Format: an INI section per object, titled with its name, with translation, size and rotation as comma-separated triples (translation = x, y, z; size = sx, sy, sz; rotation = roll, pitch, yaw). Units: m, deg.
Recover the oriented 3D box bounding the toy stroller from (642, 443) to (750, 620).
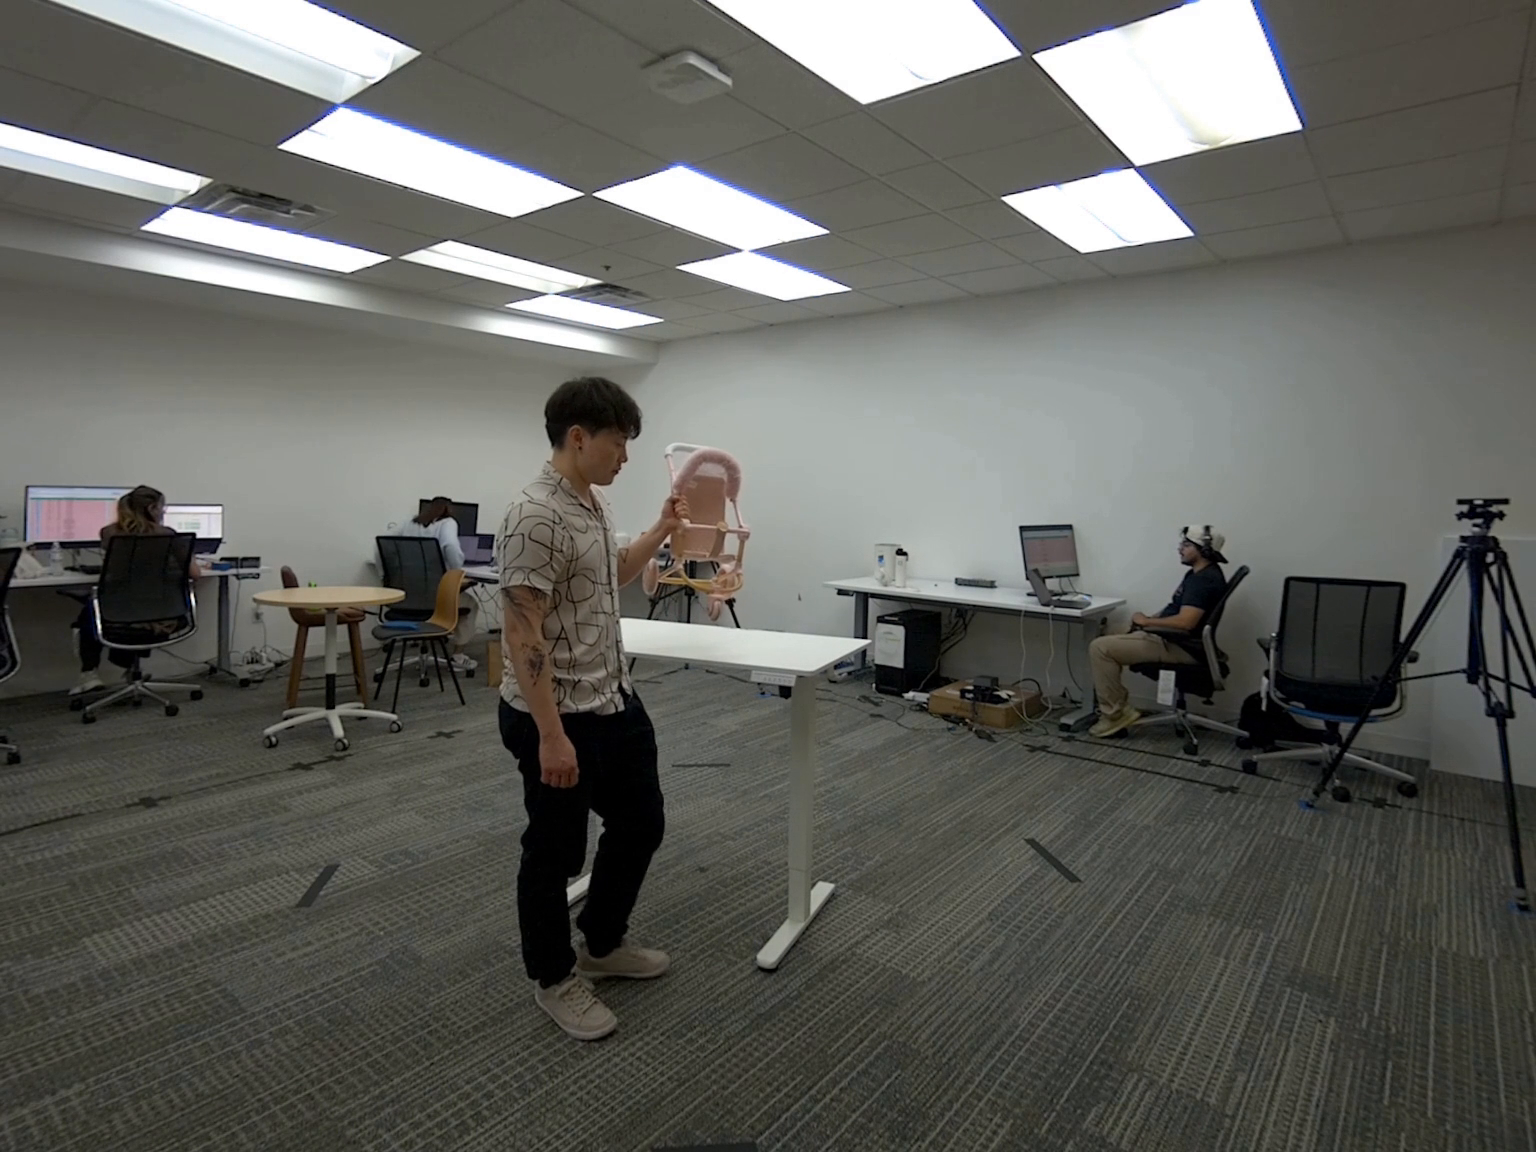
[toy stroller]
translation = -0.196, -0.141, 2.530
size = 0.275, 0.536, 0.348
rotation = 6, -3, -20
